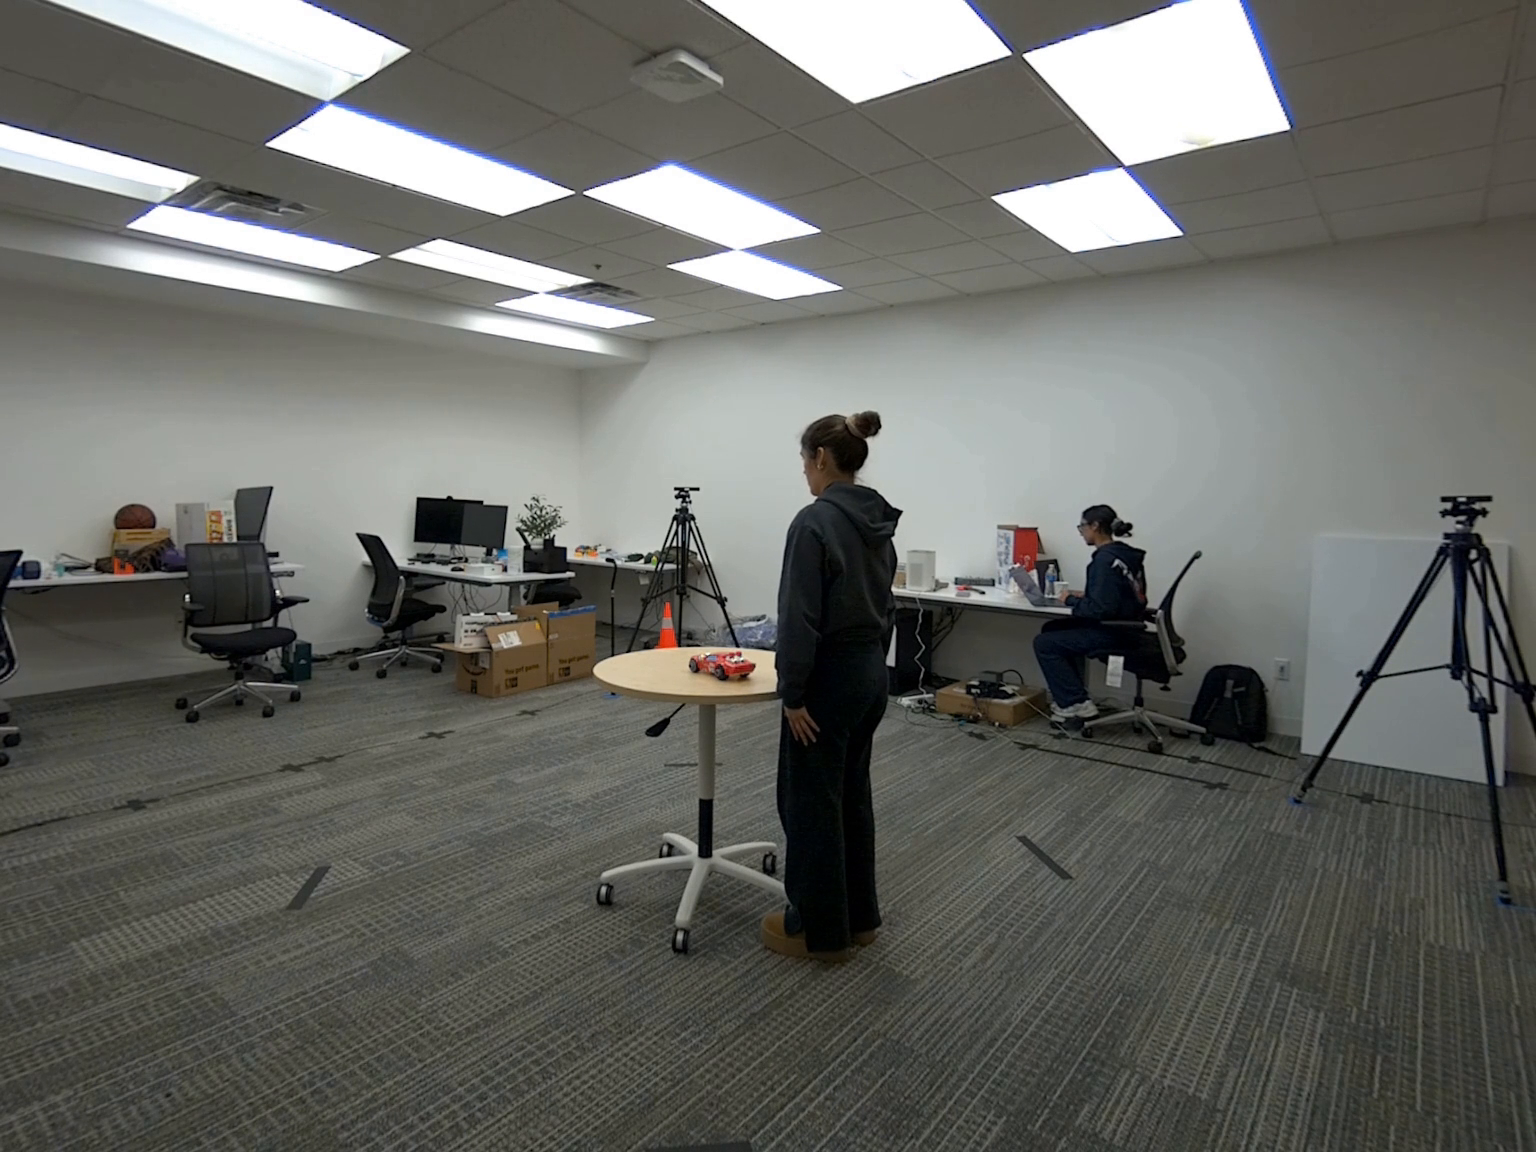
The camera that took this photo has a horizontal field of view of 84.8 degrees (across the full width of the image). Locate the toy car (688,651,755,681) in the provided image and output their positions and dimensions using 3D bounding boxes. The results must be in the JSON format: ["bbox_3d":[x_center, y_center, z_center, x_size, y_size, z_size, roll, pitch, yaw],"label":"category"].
[{"bbox_3d":[-0.151,0.289,2.749,0.126,0.083,0.261,-3,-4,-38],"label":"toy car"}]
